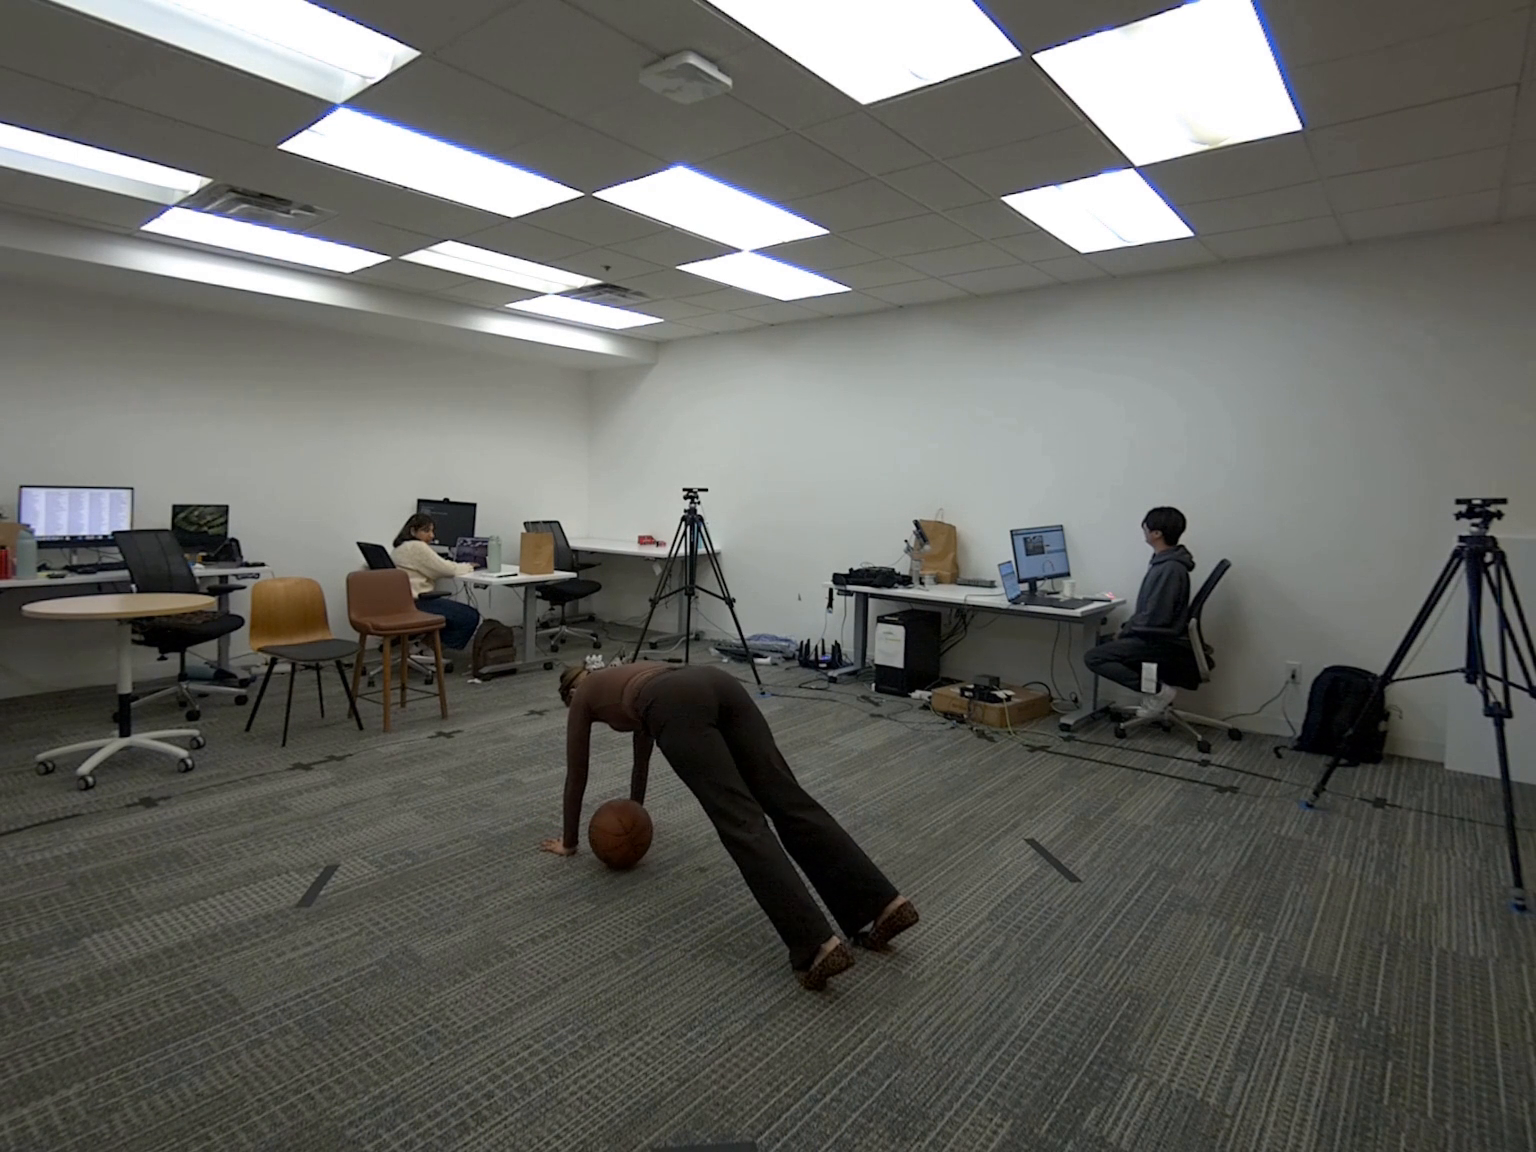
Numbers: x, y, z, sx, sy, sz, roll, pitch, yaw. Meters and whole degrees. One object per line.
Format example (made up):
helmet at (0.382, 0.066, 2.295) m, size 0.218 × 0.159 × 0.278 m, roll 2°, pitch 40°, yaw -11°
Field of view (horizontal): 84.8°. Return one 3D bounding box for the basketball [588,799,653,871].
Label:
basketball at (-0.554, 0.942, 3.131) m, size 0.236 × 0.235 × 0.237 m, roll 1°, pitch 4°, yaw -2°
